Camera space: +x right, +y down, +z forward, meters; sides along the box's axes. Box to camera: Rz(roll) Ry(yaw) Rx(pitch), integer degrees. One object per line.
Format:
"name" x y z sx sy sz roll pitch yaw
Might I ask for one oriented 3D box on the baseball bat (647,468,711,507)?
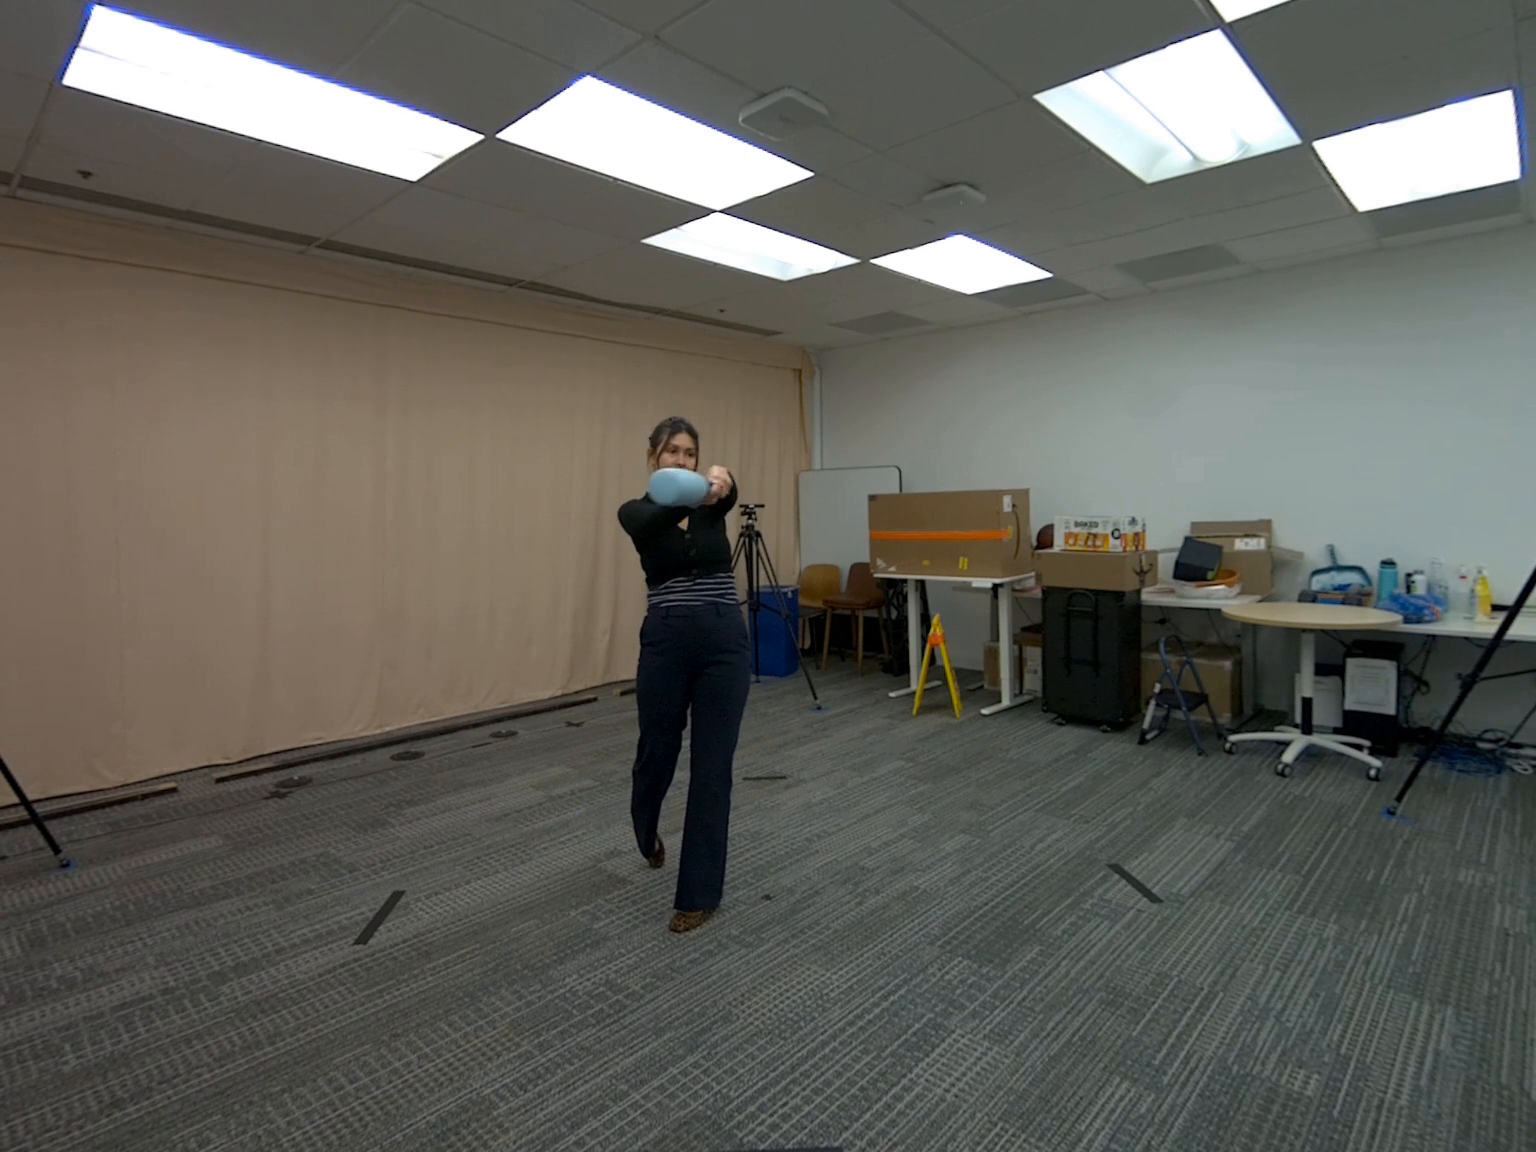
"baseball bat" -0.196 -0.222 2.177 0.090 0.089 0.537 0 6 11
